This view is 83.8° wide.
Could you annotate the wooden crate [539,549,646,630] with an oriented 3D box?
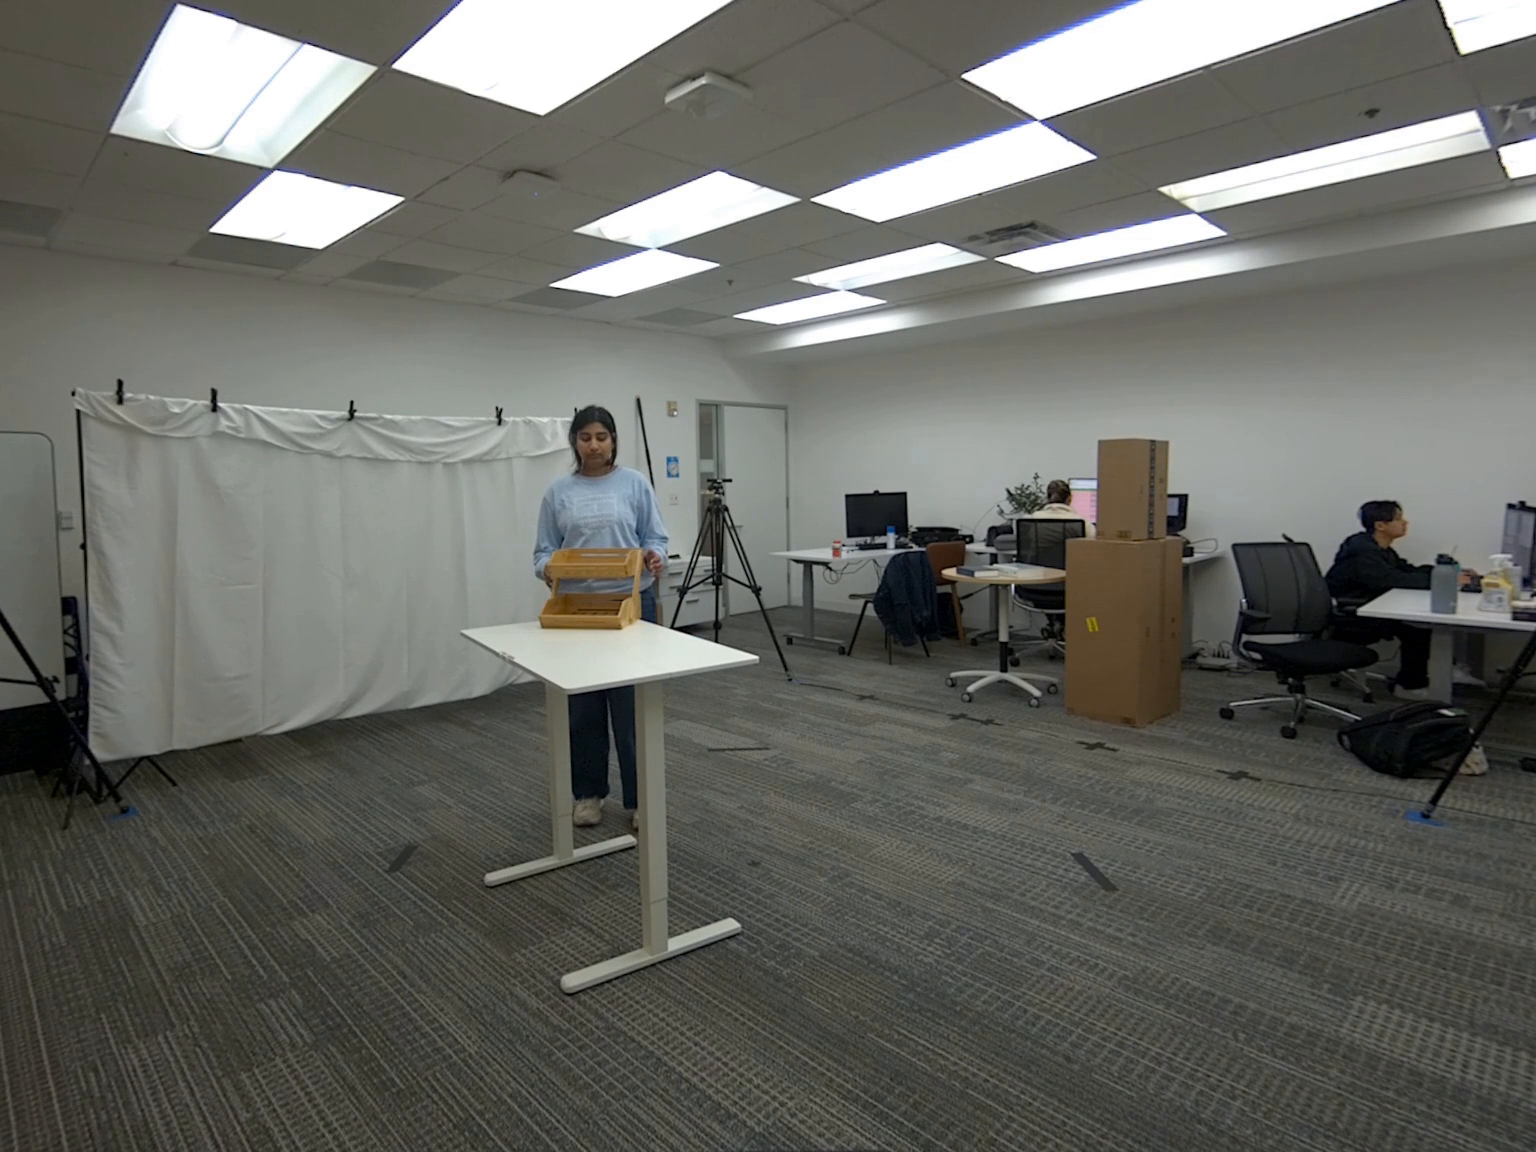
[{"bbox_3d":[-0.639,0.039,3.112,0.328,0.272,0.300,-1,4,10],"label":"wooden crate"}]
